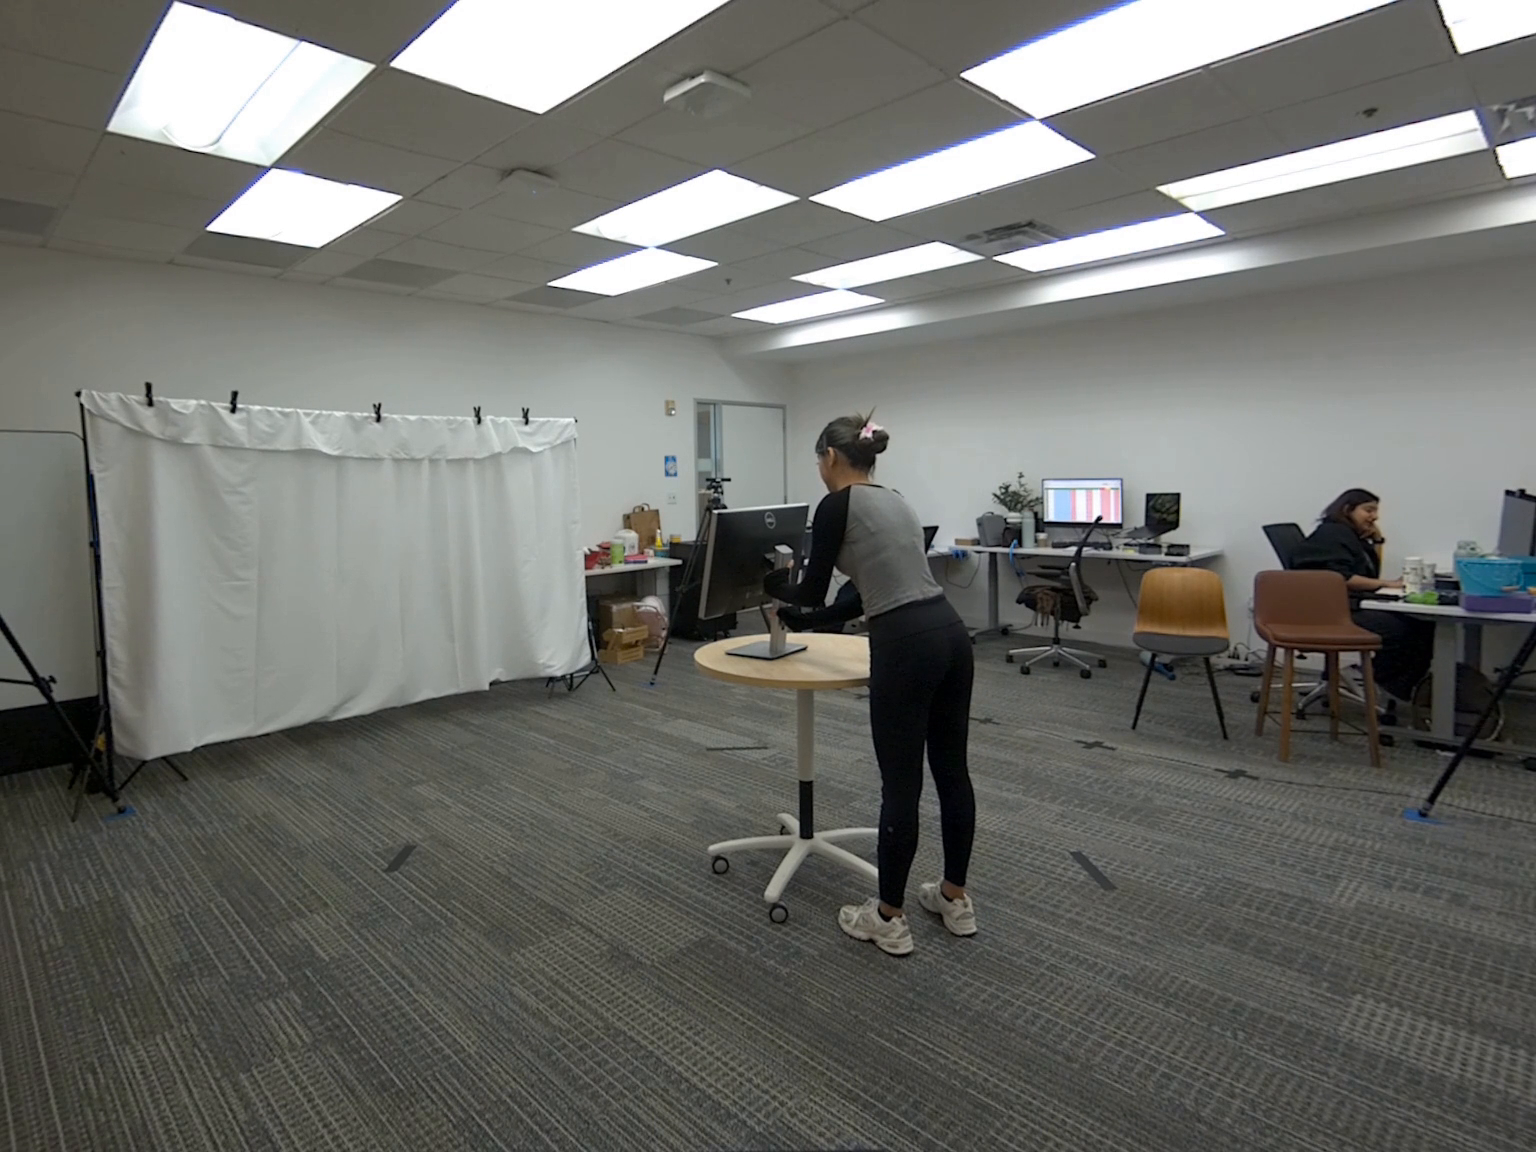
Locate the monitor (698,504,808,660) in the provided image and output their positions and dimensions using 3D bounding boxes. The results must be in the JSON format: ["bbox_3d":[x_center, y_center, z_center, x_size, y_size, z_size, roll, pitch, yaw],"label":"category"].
[{"bbox_3d":[-0.008,0.018,2.977,0.179,0.516,0.518,-8,1,36],"label":"monitor"}]
